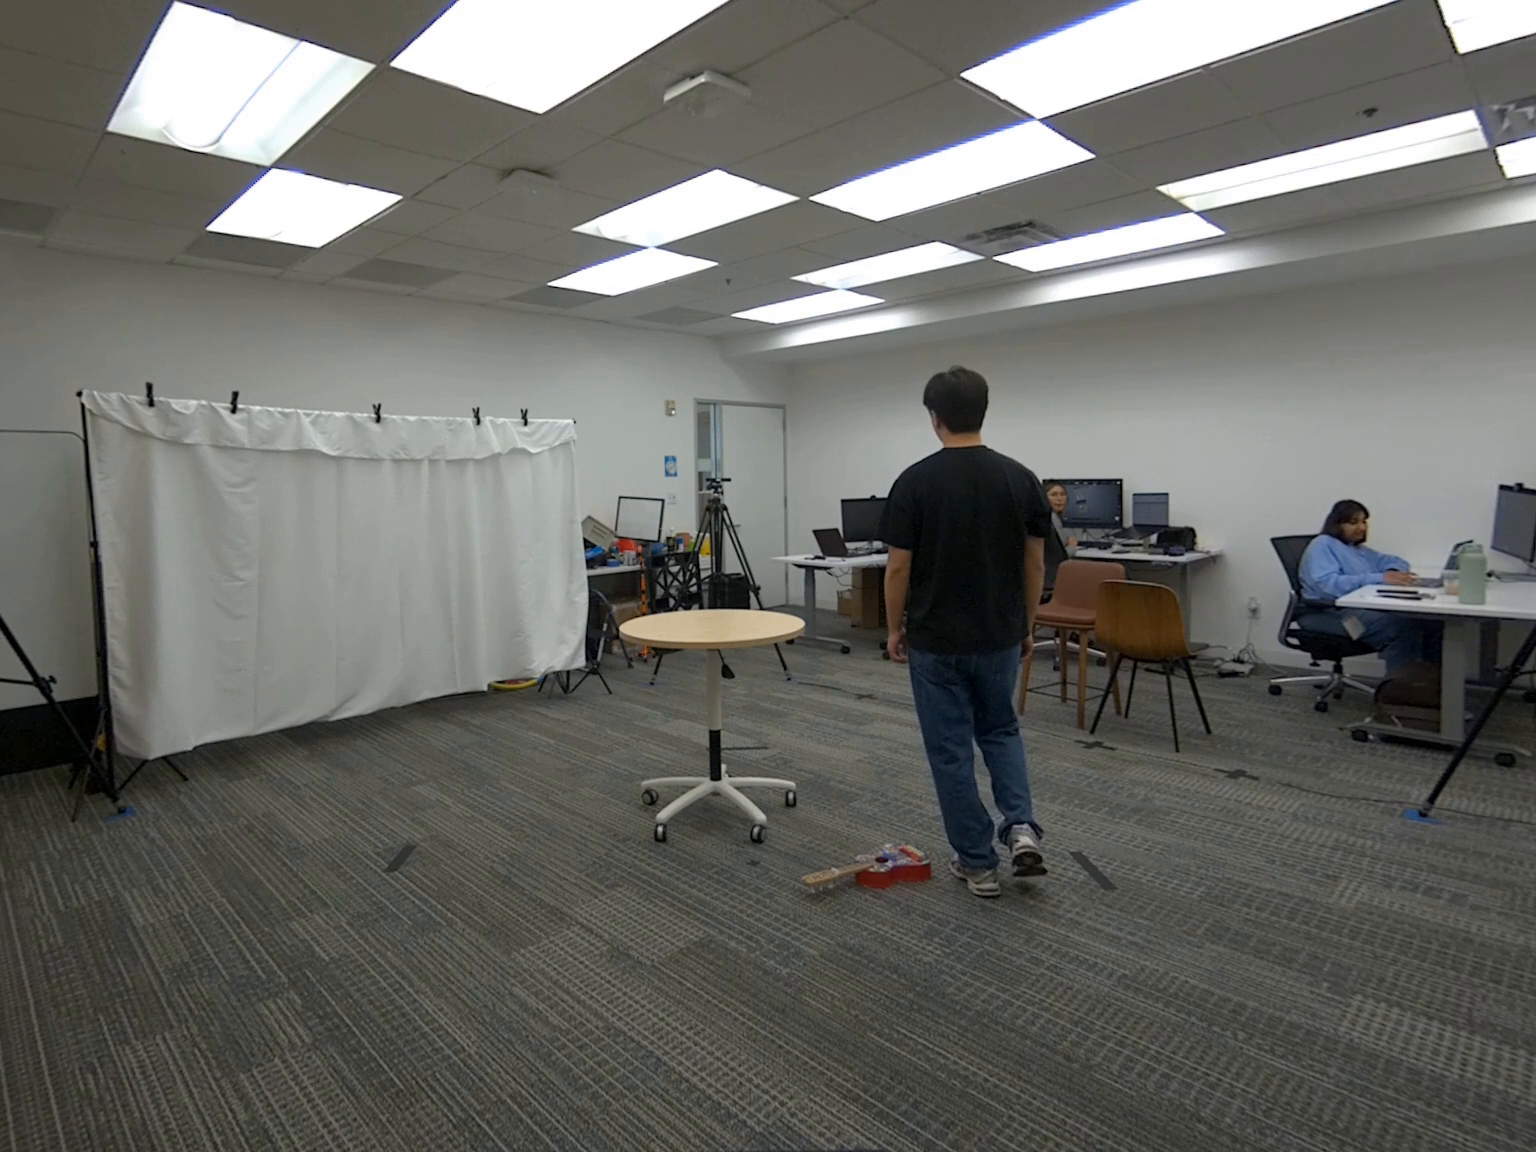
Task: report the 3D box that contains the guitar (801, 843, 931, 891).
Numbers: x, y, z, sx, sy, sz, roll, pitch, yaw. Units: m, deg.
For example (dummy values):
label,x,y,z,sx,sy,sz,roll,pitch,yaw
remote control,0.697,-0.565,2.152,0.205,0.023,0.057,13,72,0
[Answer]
label,x,y,z,sx,sy,sz,roll,pitch,yaw
guitar,0.327,1.017,2.972,0.489,0.070,0.197,-3,7,-20
